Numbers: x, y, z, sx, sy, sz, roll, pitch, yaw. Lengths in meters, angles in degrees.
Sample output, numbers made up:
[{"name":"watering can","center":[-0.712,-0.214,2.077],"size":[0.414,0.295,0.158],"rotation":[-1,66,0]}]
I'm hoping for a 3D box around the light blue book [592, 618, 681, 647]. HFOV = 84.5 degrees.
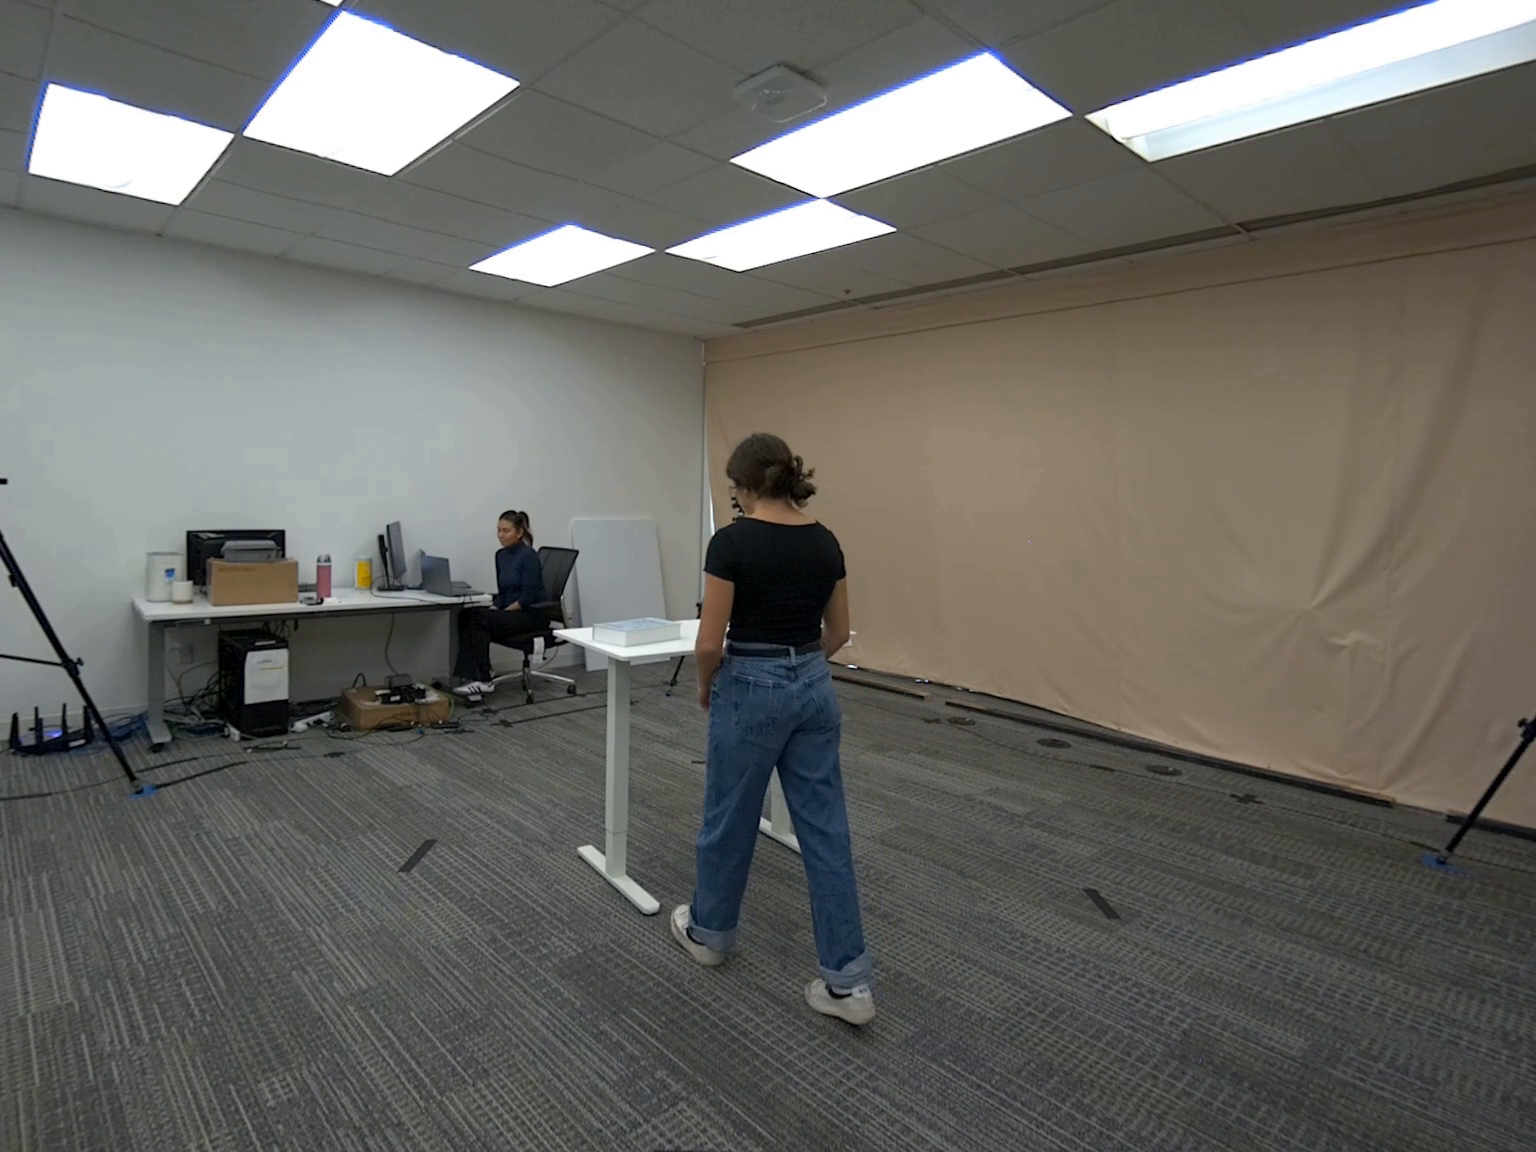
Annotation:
[{"name":"light blue book","center":[-0.477,0.201,3.003],"size":[0.196,0.059,0.255],"rotation":[5,7,42]}]
